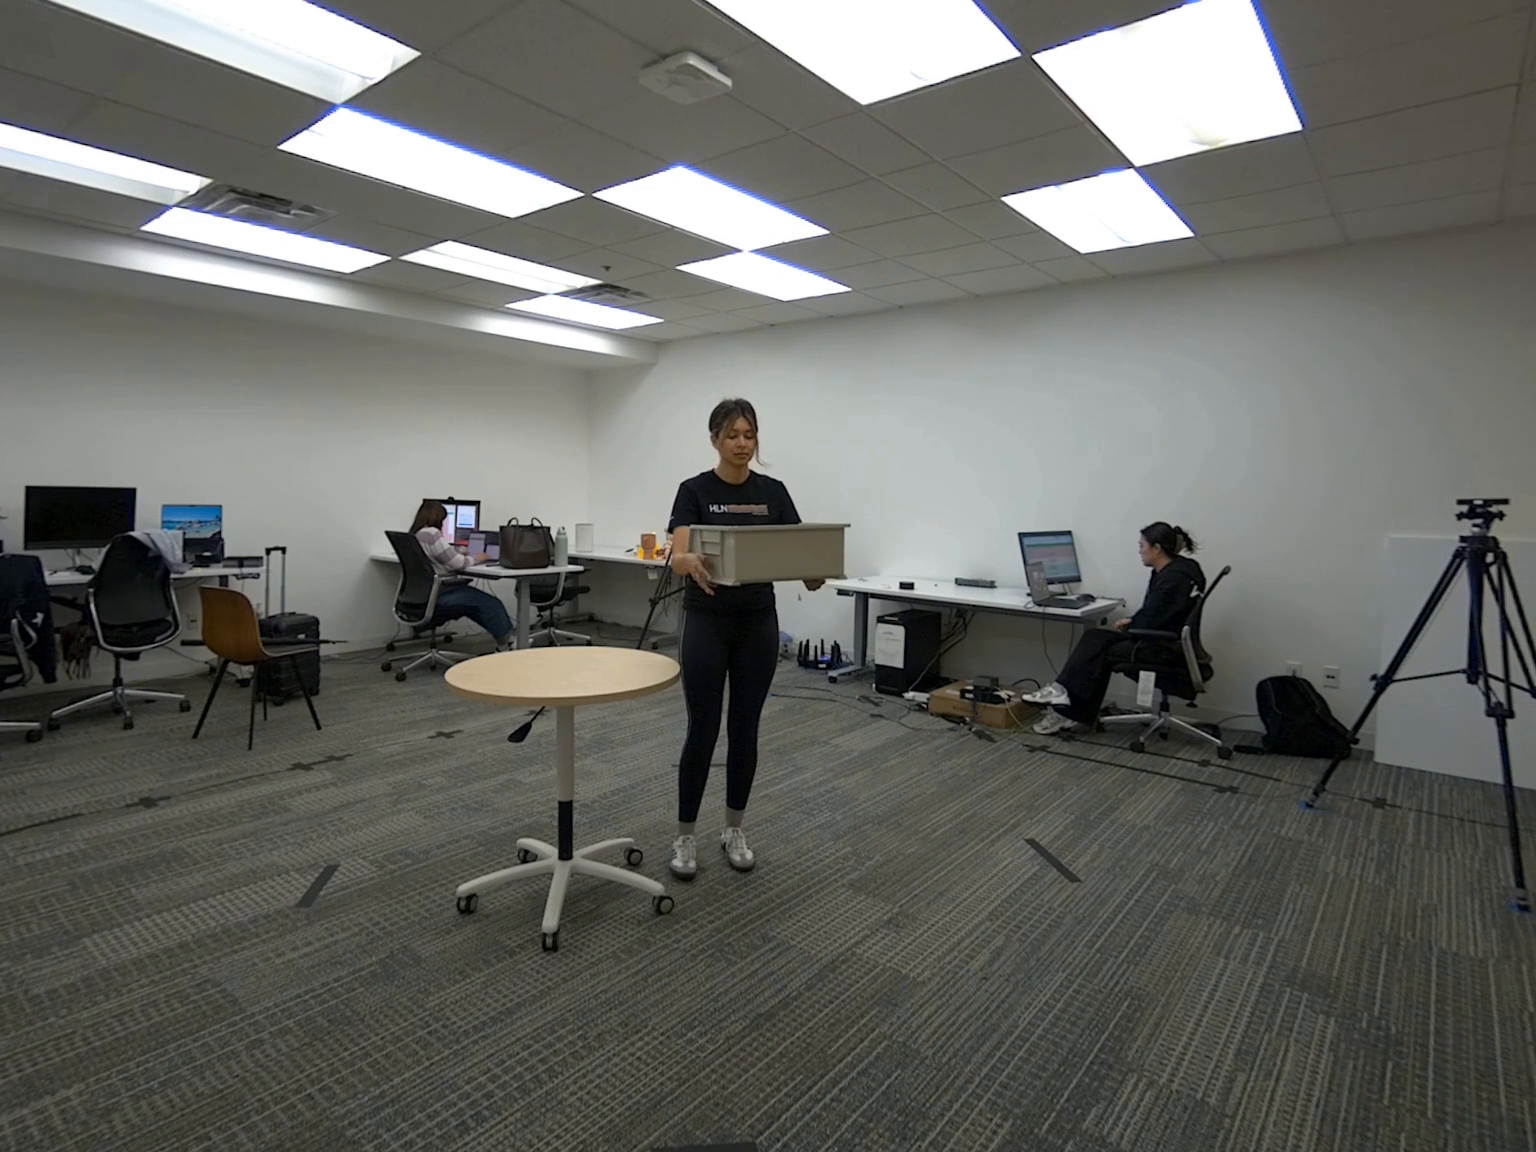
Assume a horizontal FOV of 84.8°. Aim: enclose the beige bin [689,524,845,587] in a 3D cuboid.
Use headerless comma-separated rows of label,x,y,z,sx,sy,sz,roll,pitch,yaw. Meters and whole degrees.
beige bin,-0.013,-0.080,2.797,0.413,0.188,0.387,-3,5,-23
